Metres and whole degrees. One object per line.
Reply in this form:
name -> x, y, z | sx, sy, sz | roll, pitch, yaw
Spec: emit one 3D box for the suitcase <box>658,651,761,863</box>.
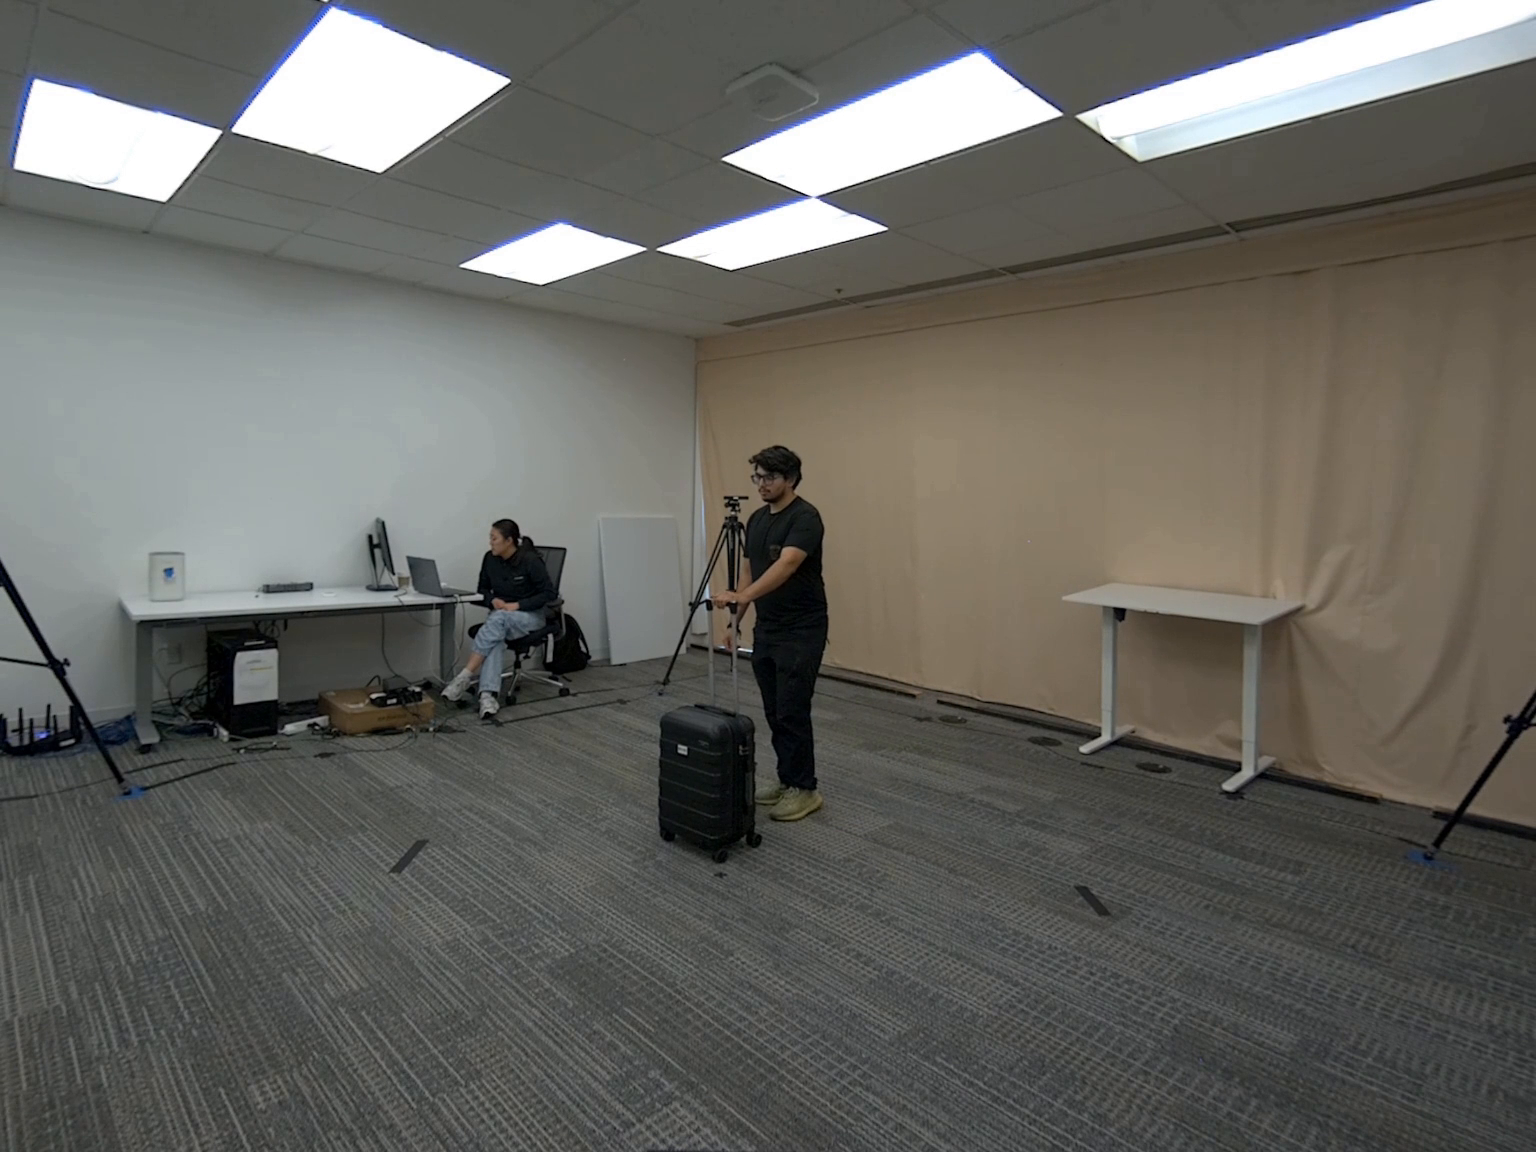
suitcase -> -0.252, 0.603, 3.341 | 0.394, 0.974, 0.252 | 5, 9, 42
